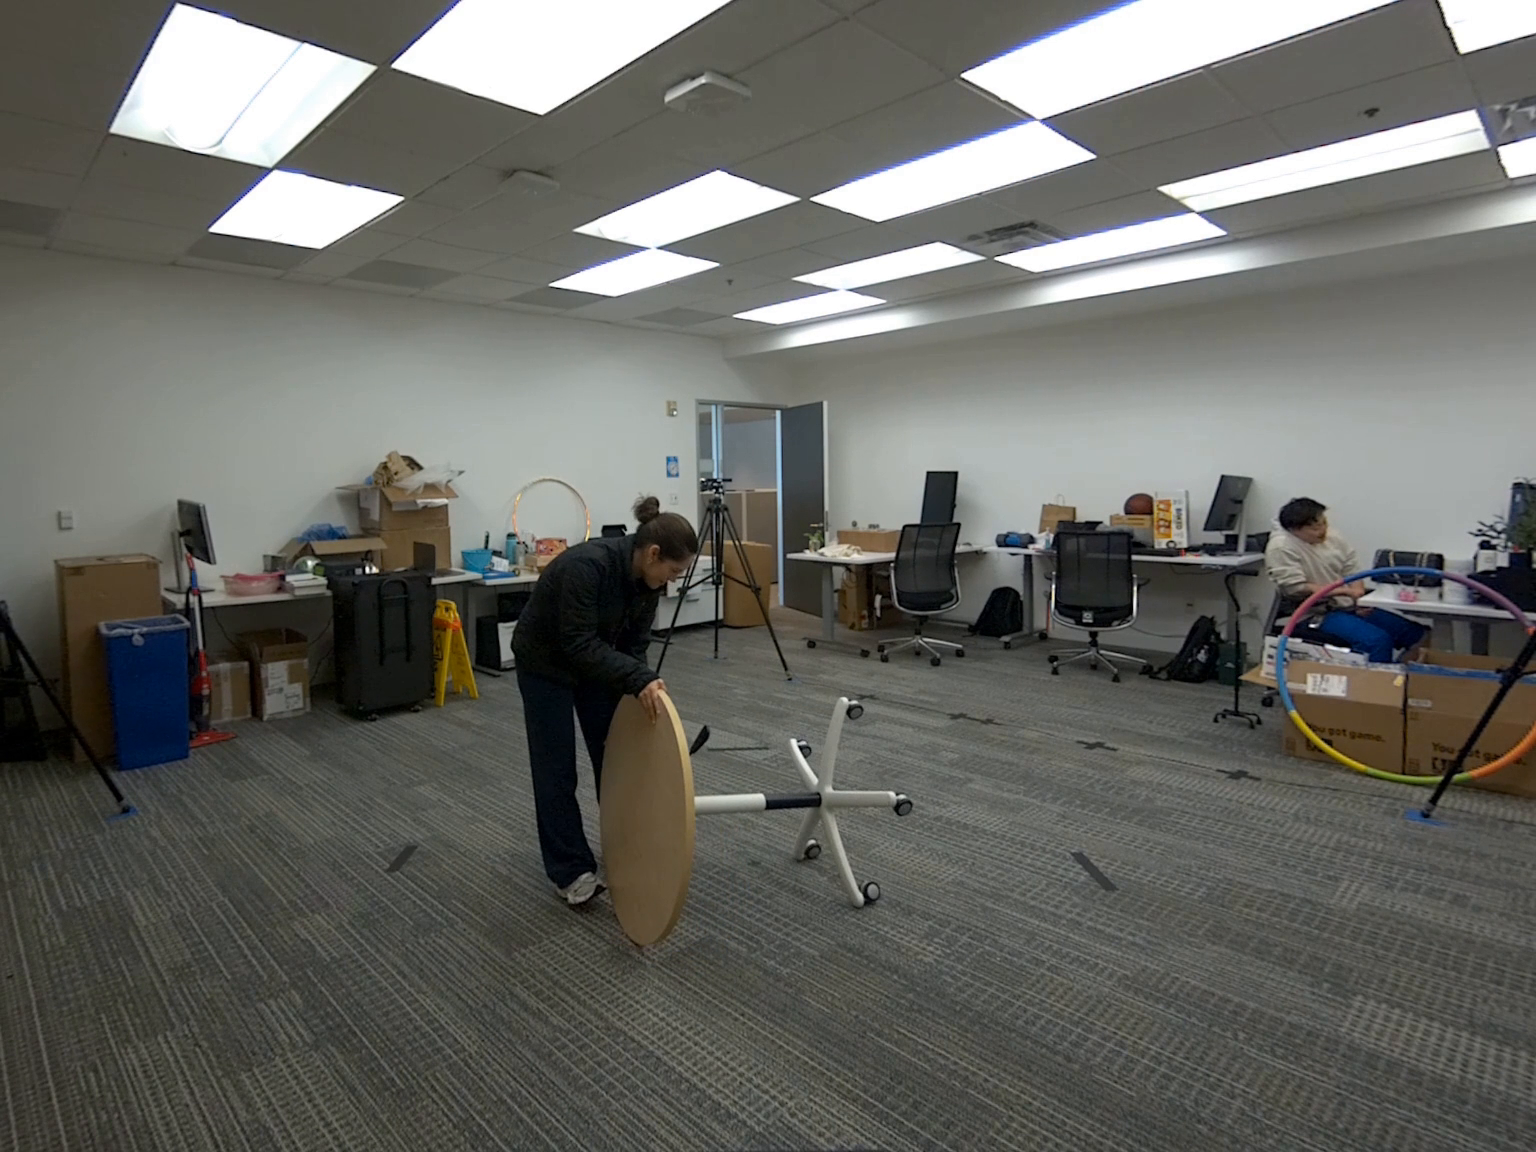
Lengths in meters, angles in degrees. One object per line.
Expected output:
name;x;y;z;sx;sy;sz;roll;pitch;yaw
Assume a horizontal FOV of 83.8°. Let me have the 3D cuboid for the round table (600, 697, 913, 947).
round table;-0.057;0.741;2.822;0.766;0.785;0.806;5;2;-29
